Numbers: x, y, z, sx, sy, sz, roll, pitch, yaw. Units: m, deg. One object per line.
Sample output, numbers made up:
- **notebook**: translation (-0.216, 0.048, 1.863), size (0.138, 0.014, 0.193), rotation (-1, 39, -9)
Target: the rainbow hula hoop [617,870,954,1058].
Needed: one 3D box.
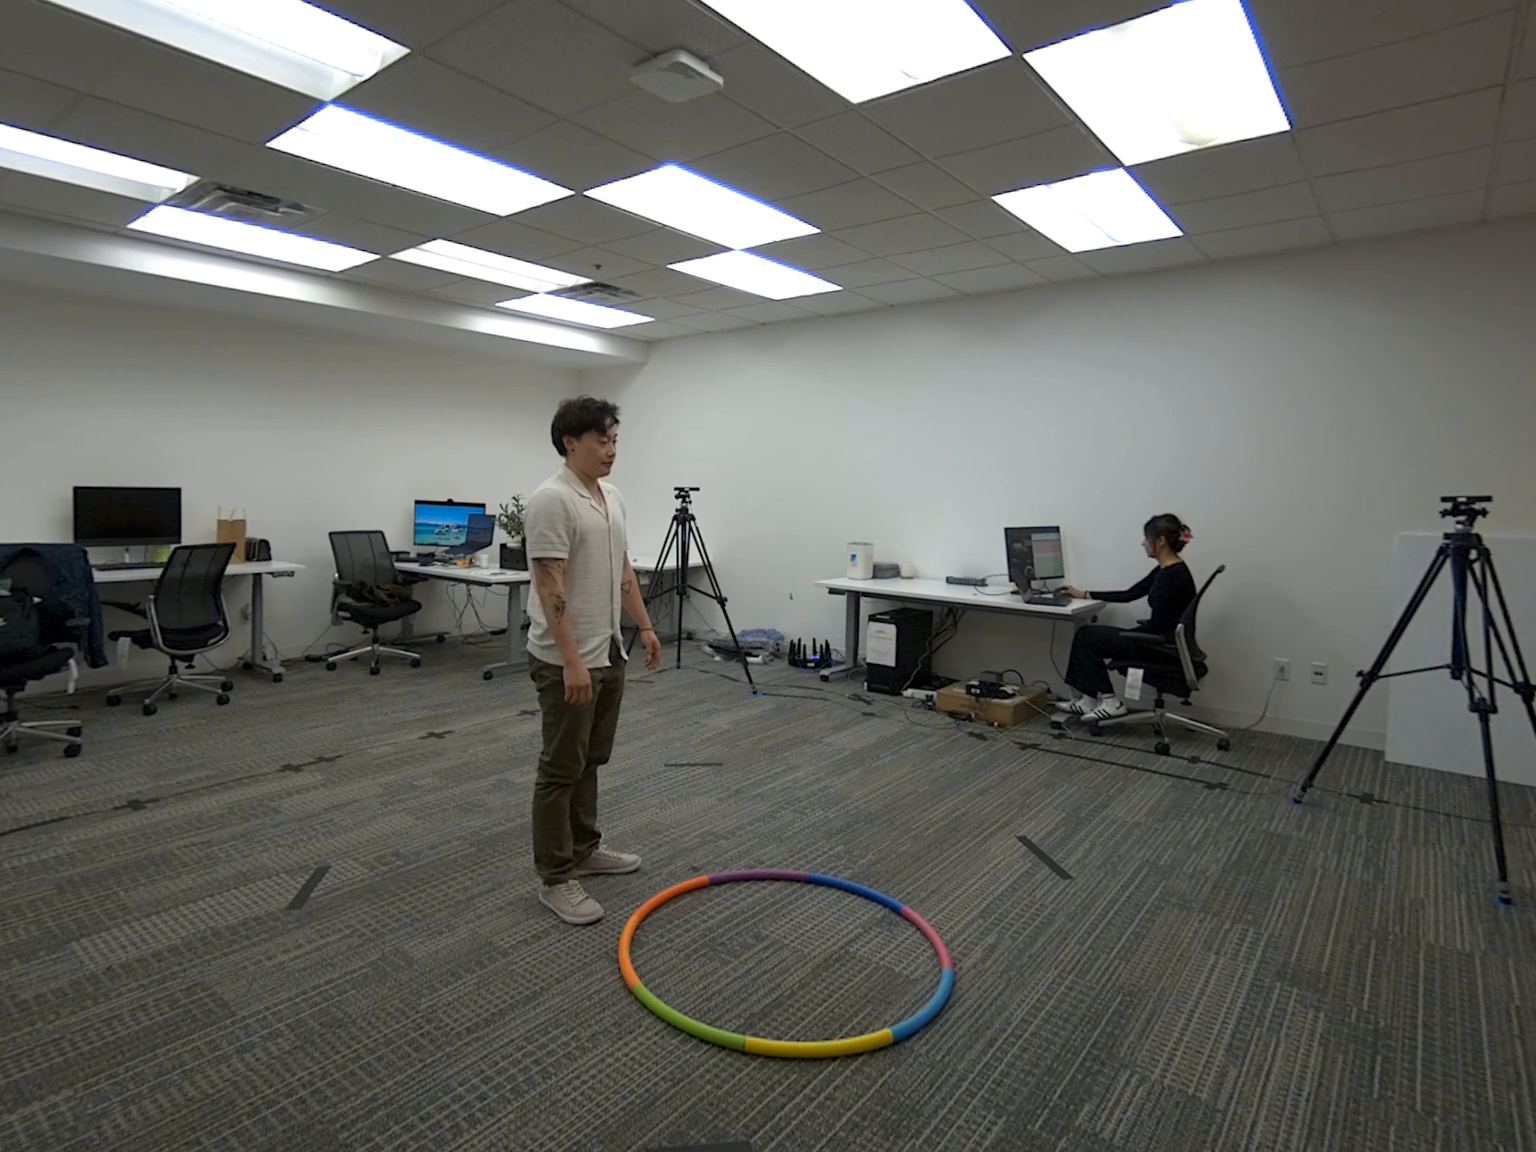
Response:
- **rainbow hula hoop**: translation (0.035, 1.094, 2.566), size (0.978, 0.035, 0.984), rotation (1, 6, -2)
